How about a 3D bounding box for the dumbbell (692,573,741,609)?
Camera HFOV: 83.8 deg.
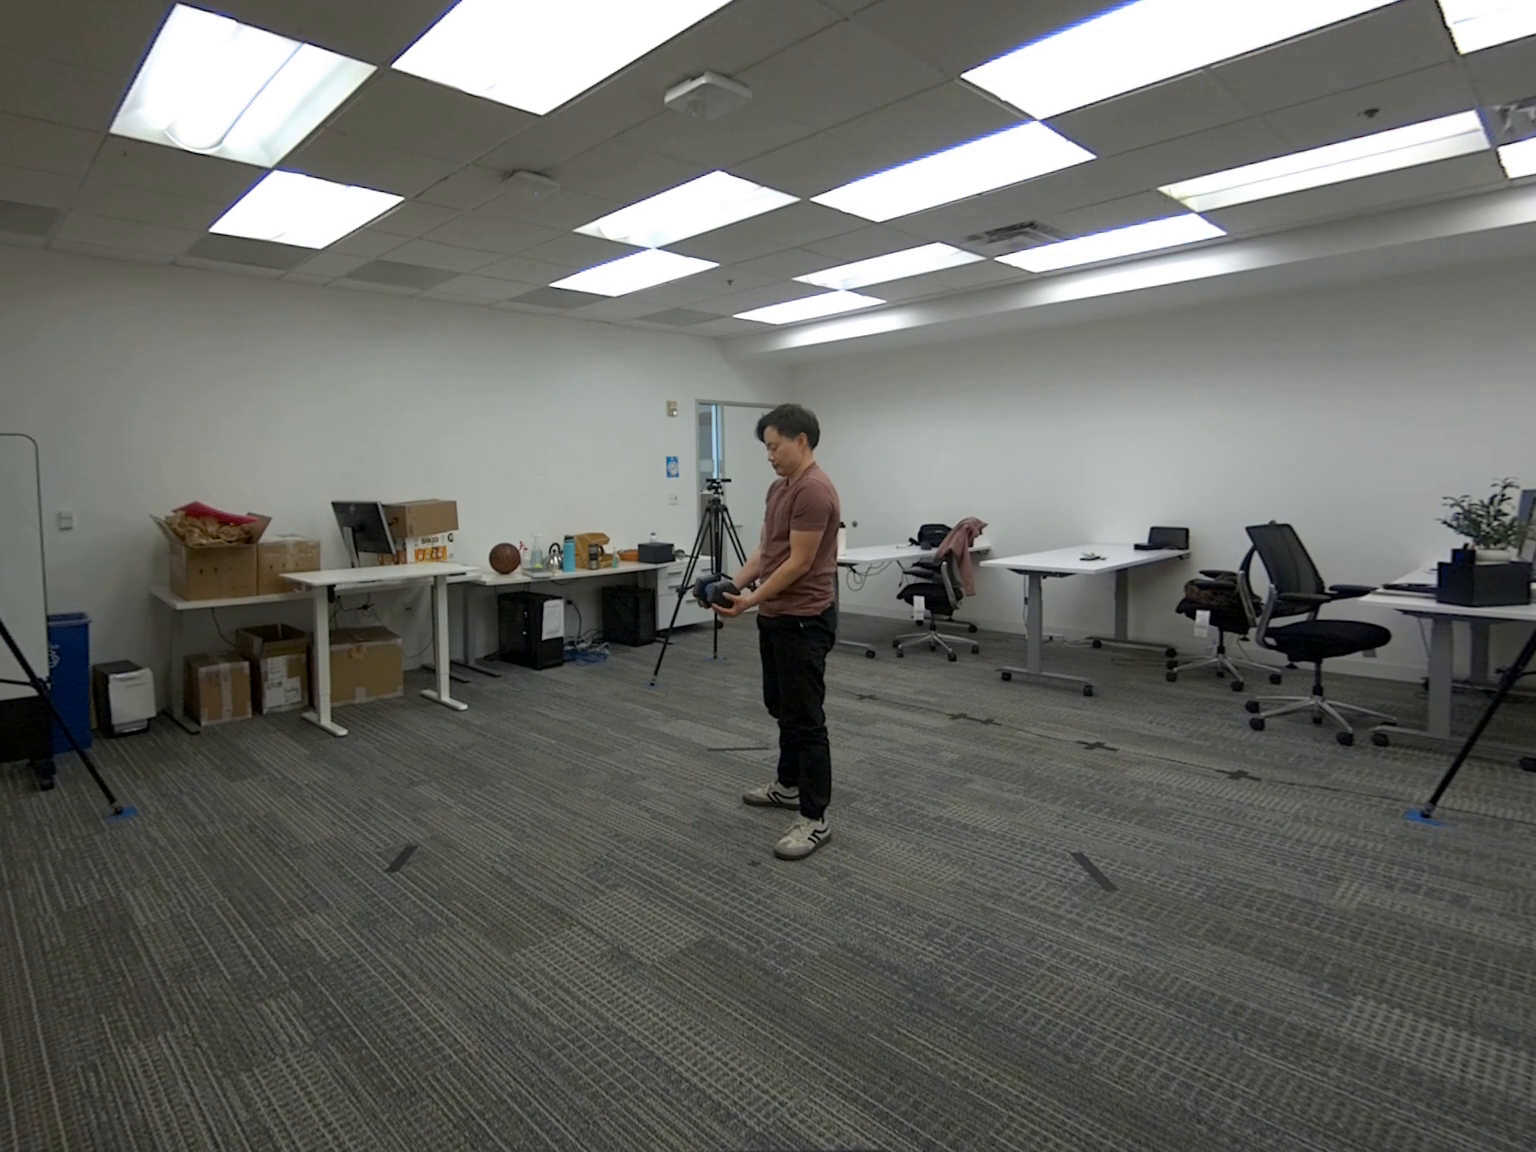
[{"bbox_3d":[-0.202,0.048,3.324,0.121,0.108,0.299,-15,10,-17],"label":"dumbbell"}]
